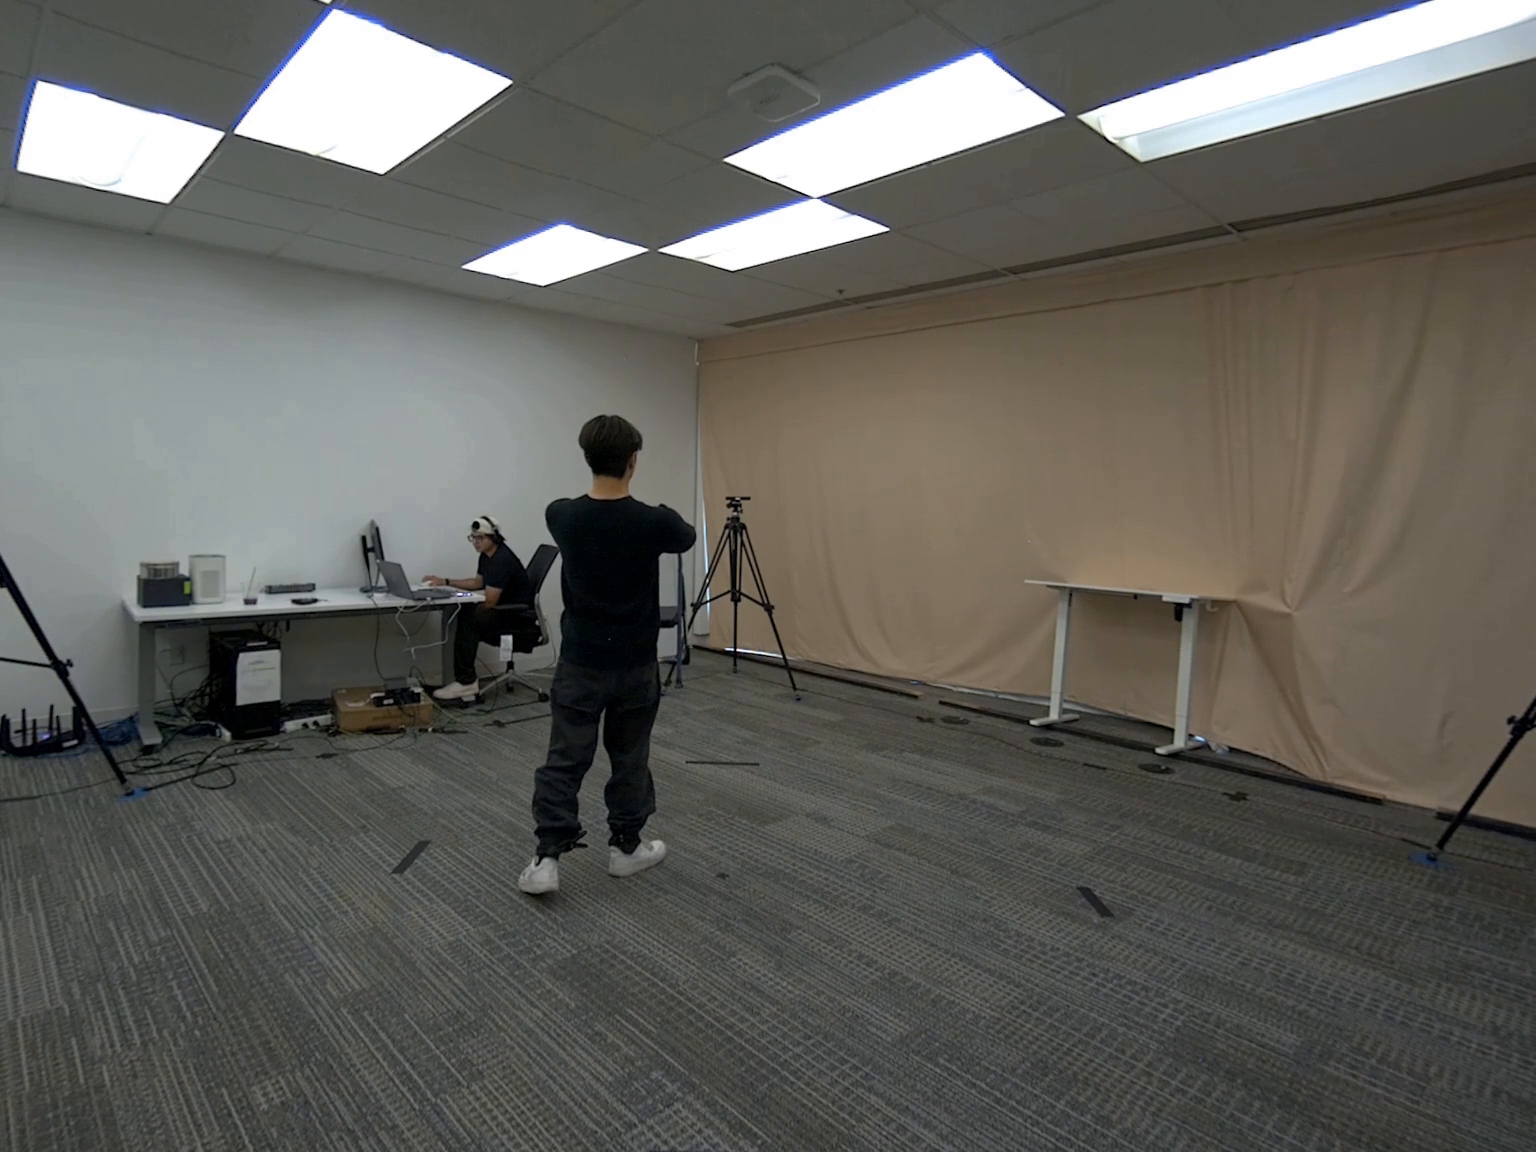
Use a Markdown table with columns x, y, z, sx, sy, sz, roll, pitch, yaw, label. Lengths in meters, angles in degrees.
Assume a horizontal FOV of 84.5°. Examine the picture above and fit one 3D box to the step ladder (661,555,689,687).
| x | y | z | sx | sy | sz | roll | pitch | yaw | label |
| --- | --- | --- | --- | --- | --- | --- | --- | --- | --- |
| -0.565 | 0.127 | 3.458 | 0.431 | 0.602 | 0.351 | 0 | 10 | 2 | step ladder |
